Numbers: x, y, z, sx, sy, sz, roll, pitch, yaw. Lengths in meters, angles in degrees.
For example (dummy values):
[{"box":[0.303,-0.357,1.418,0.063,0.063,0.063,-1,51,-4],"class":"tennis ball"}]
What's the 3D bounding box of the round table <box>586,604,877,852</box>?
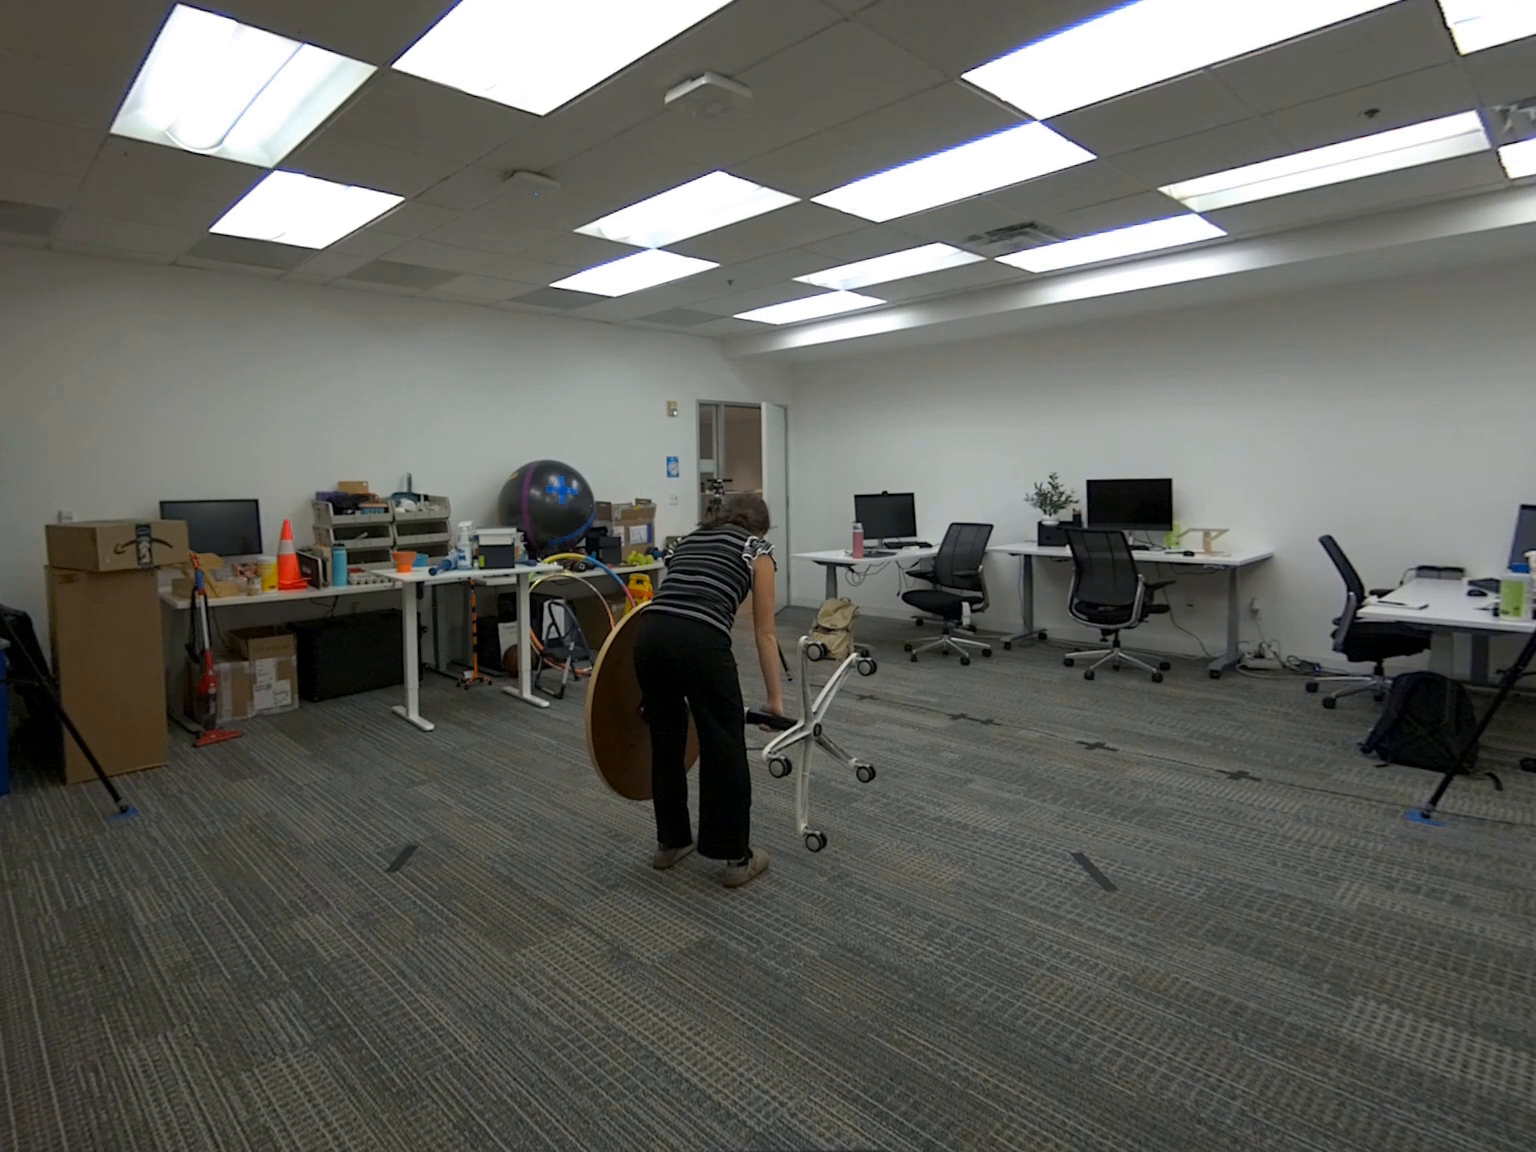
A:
[{"box":[-0.096,0.506,3.058,0.817,0.760,0.746,5,7,34],"class":"round table"}]
